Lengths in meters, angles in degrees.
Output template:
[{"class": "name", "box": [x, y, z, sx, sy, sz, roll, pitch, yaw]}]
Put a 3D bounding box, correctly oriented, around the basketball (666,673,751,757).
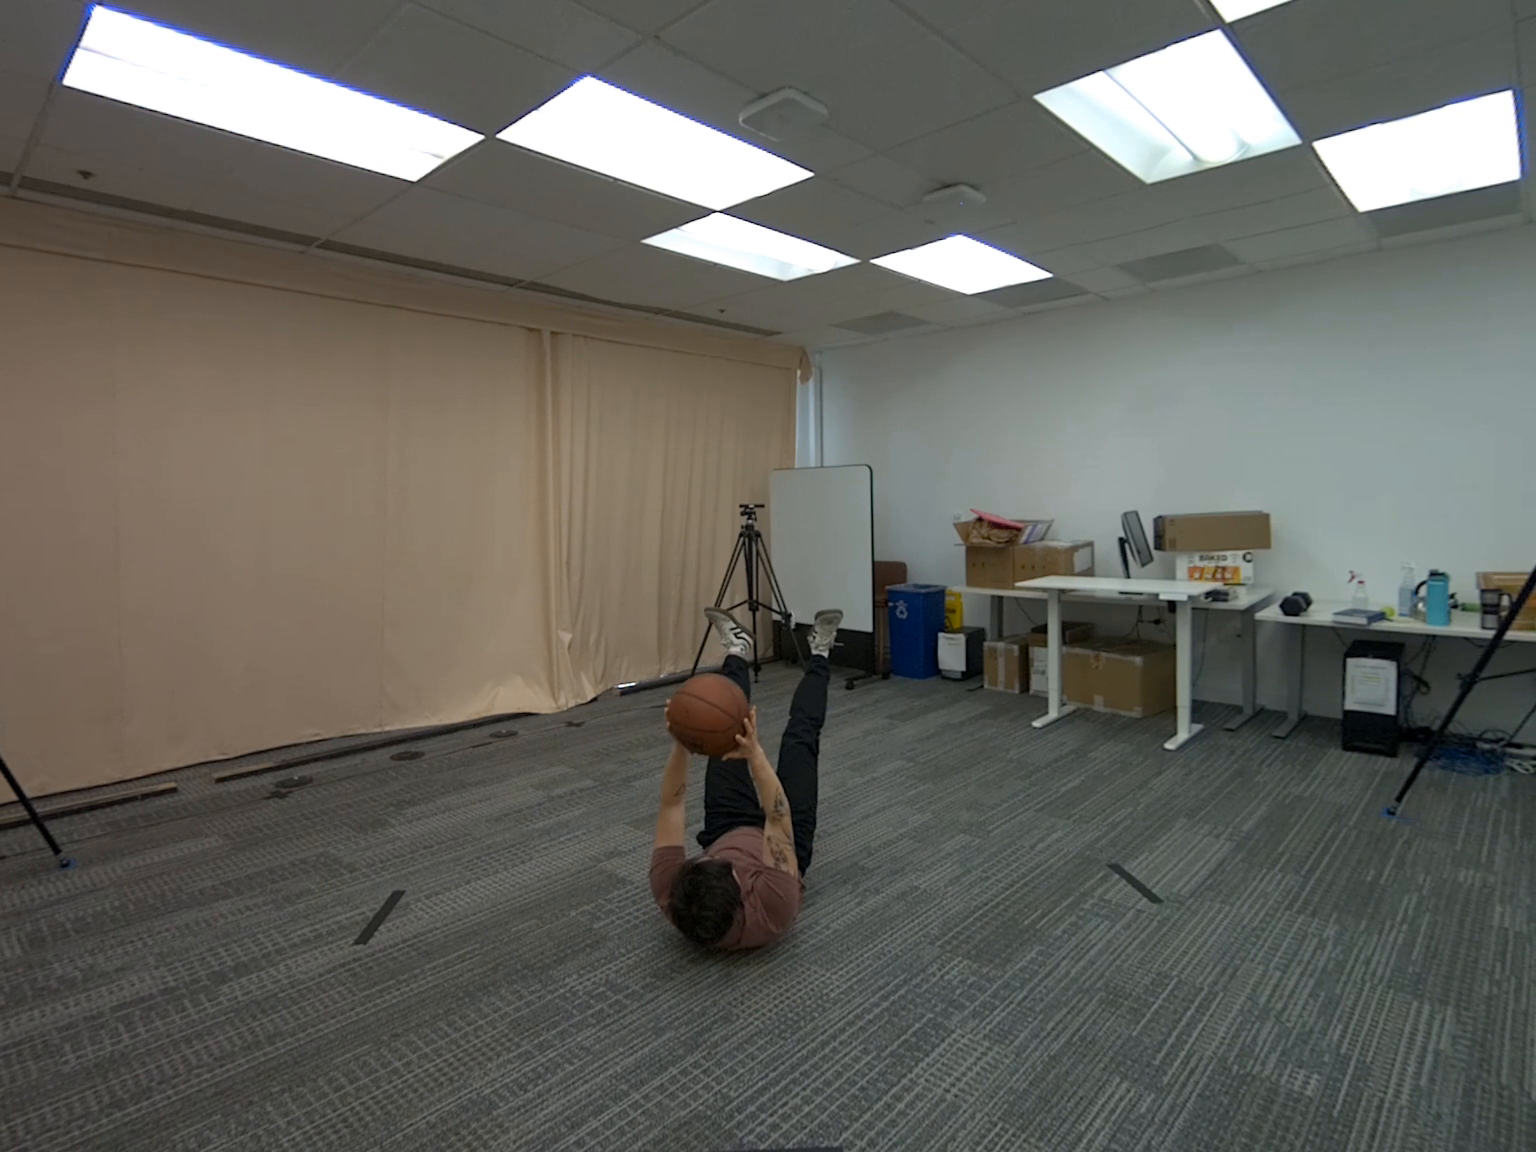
[{"class": "basketball", "box": [-0.164, 0.408, 2.453, 0.235, 0.235, 0.237, 3, 5, -2]}]
